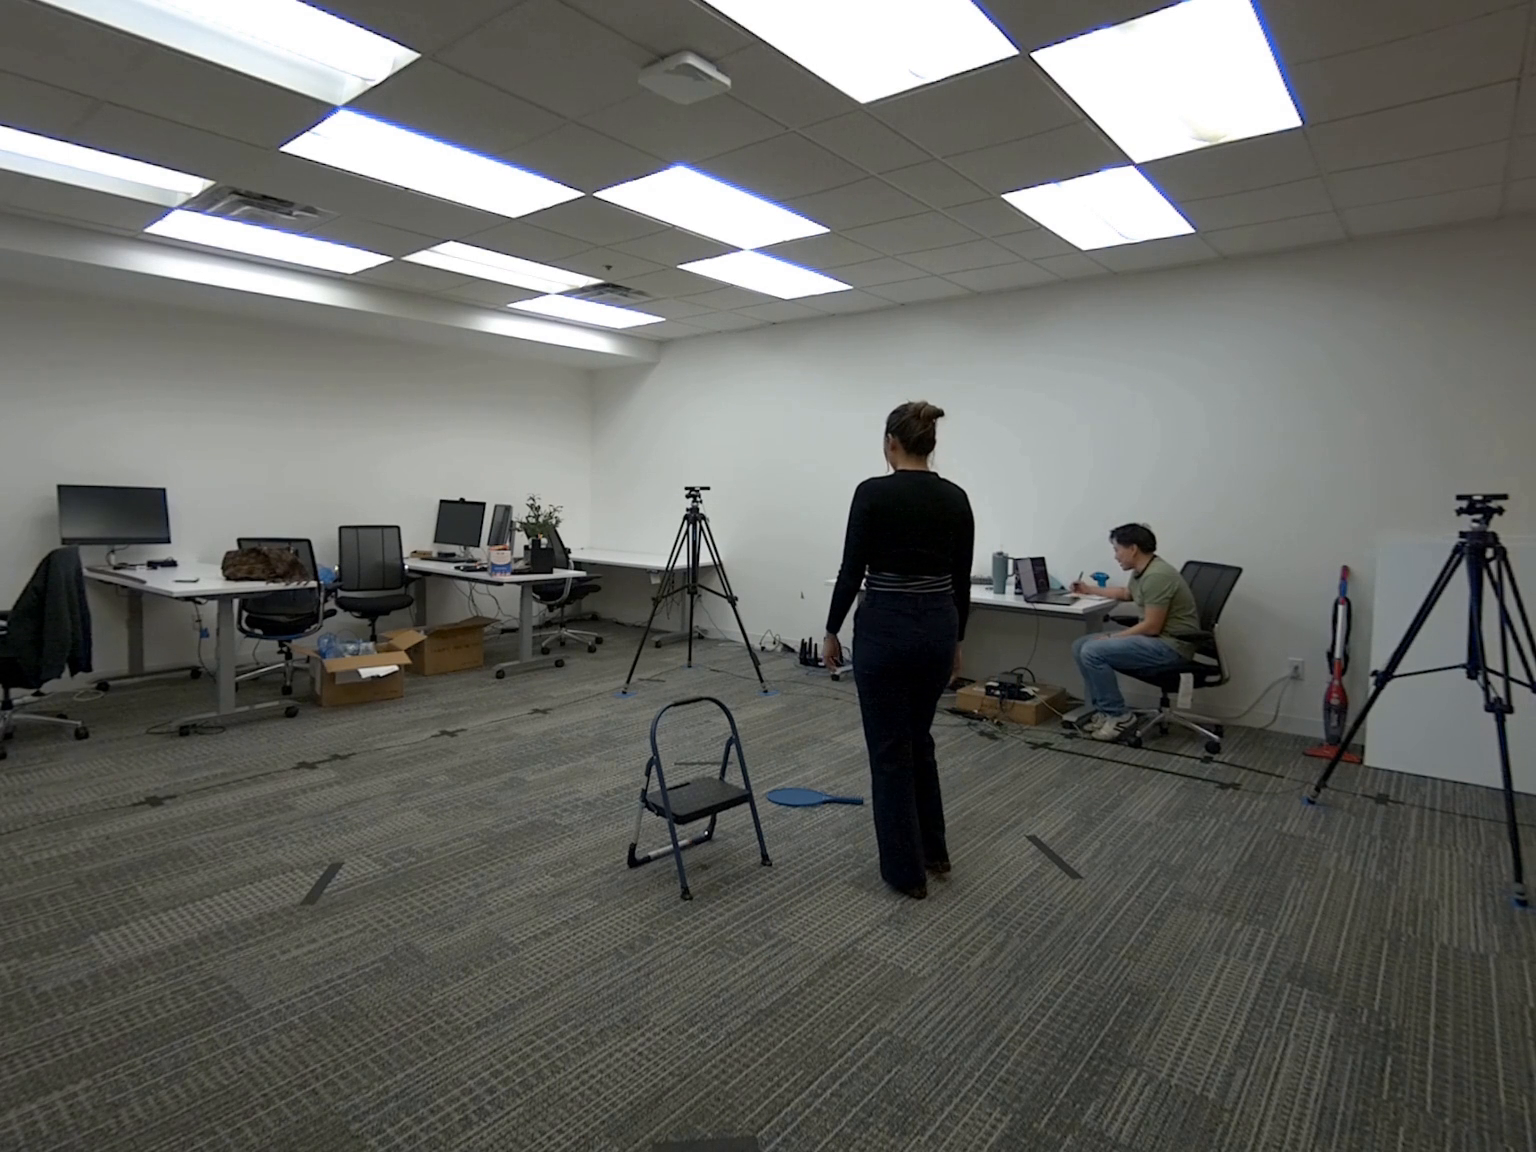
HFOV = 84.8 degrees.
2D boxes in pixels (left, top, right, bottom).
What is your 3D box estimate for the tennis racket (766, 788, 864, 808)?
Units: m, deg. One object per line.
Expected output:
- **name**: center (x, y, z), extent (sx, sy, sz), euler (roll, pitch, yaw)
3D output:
- **tennis racket**: center (0.198, 0.988, 3.812), extent (0.437, 0.031, 0.212), euler (1, 5, 9)
